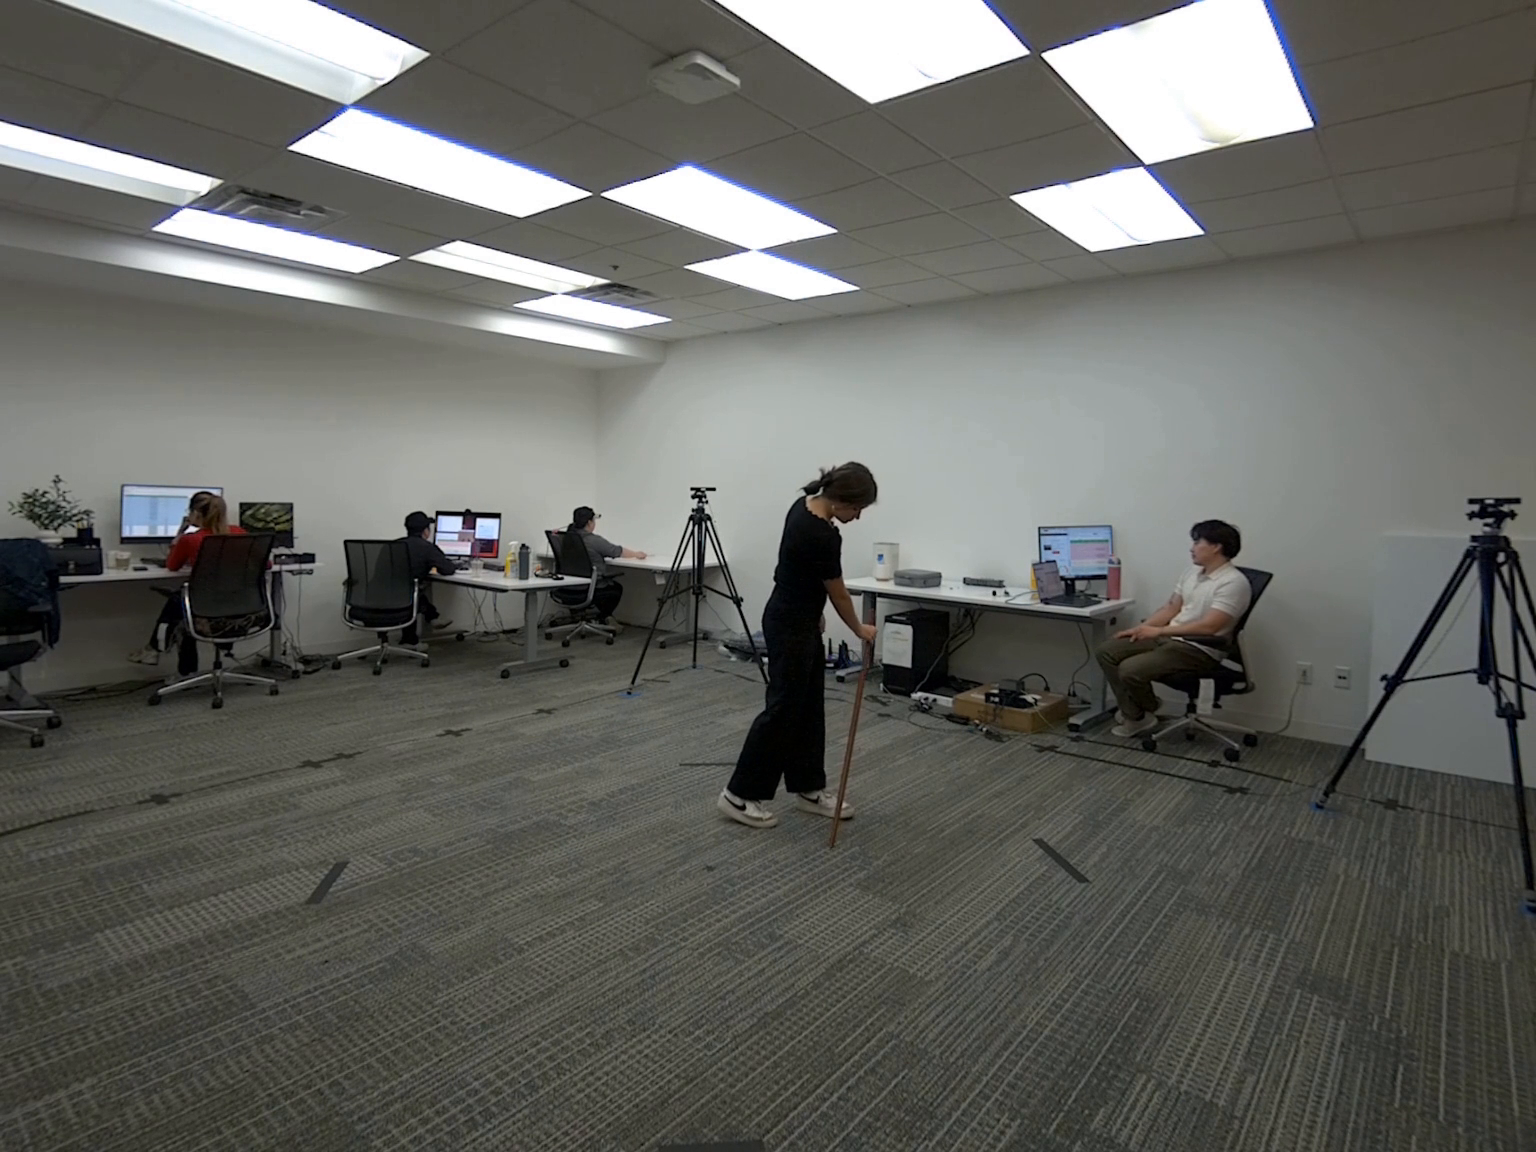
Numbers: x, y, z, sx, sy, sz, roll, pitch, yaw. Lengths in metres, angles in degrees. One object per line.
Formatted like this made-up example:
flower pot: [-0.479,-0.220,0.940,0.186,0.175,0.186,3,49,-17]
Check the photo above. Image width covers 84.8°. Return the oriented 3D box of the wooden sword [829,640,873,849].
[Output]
wooden sword: [0.354,0.622,3.546,0.024,1.040,0.050,12,-26,6]
